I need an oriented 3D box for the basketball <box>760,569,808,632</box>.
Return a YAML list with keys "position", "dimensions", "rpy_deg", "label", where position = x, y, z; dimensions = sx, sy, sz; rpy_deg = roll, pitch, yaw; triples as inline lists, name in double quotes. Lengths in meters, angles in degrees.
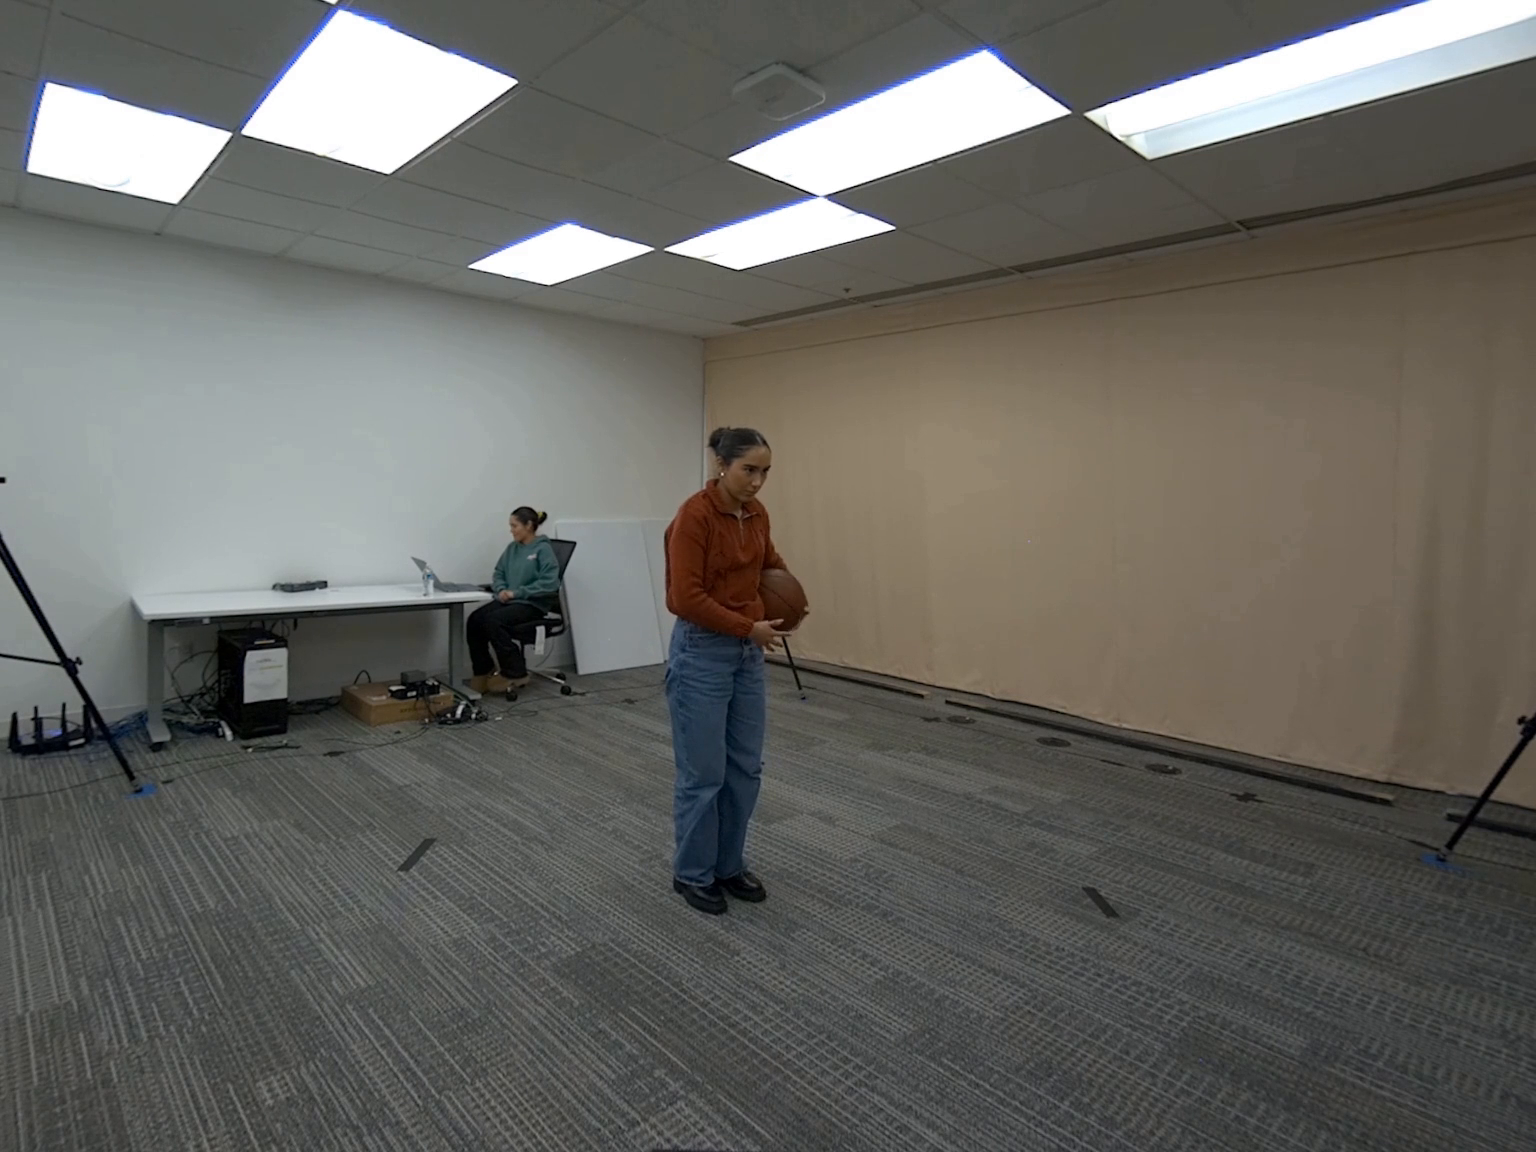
- position: [0.009, 0.093, 3.054]
  dimensions: [0.236, 0.235, 0.237]
  rpy_deg: [1, 4, -1]
  label: "basketball"
